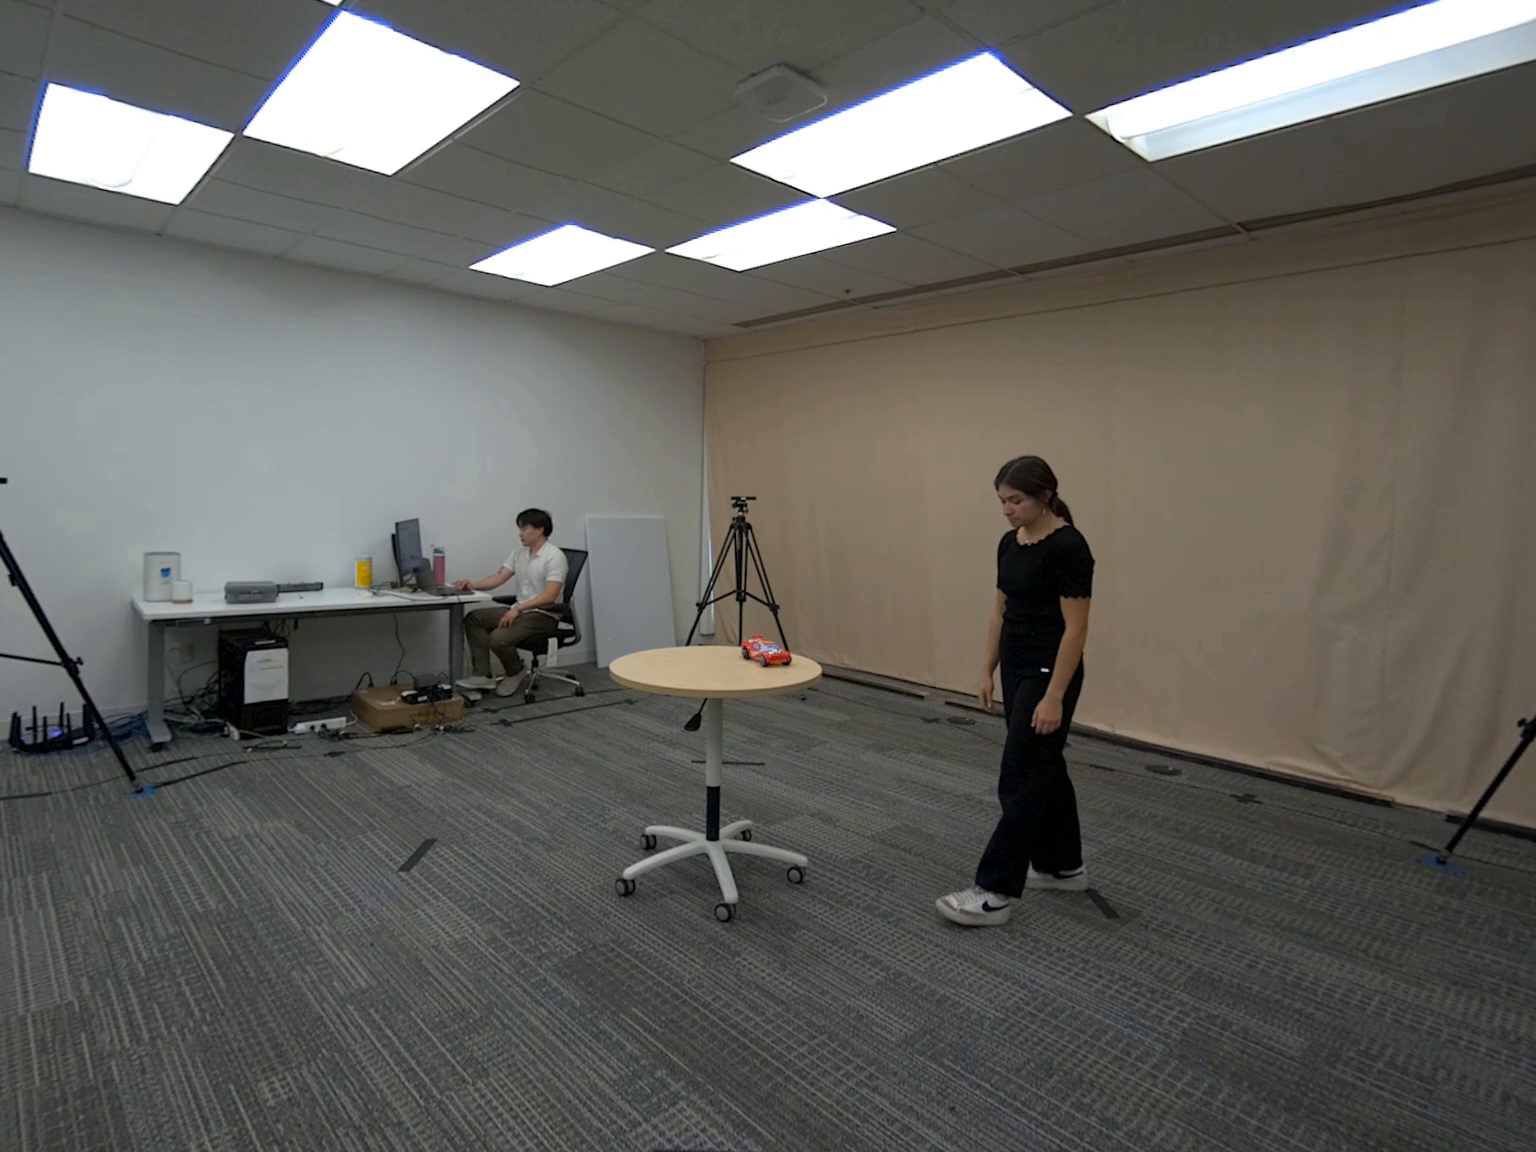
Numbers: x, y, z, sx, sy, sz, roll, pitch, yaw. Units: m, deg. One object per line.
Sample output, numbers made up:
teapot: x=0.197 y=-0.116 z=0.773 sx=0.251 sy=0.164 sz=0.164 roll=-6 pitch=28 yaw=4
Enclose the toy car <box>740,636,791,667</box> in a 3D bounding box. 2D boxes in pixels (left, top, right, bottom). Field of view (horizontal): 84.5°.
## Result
toy car: x=-0.024 y=0.283 z=3.155 sx=0.128 sy=0.082 sz=0.261 roll=-2 pitch=17 yaw=-26
